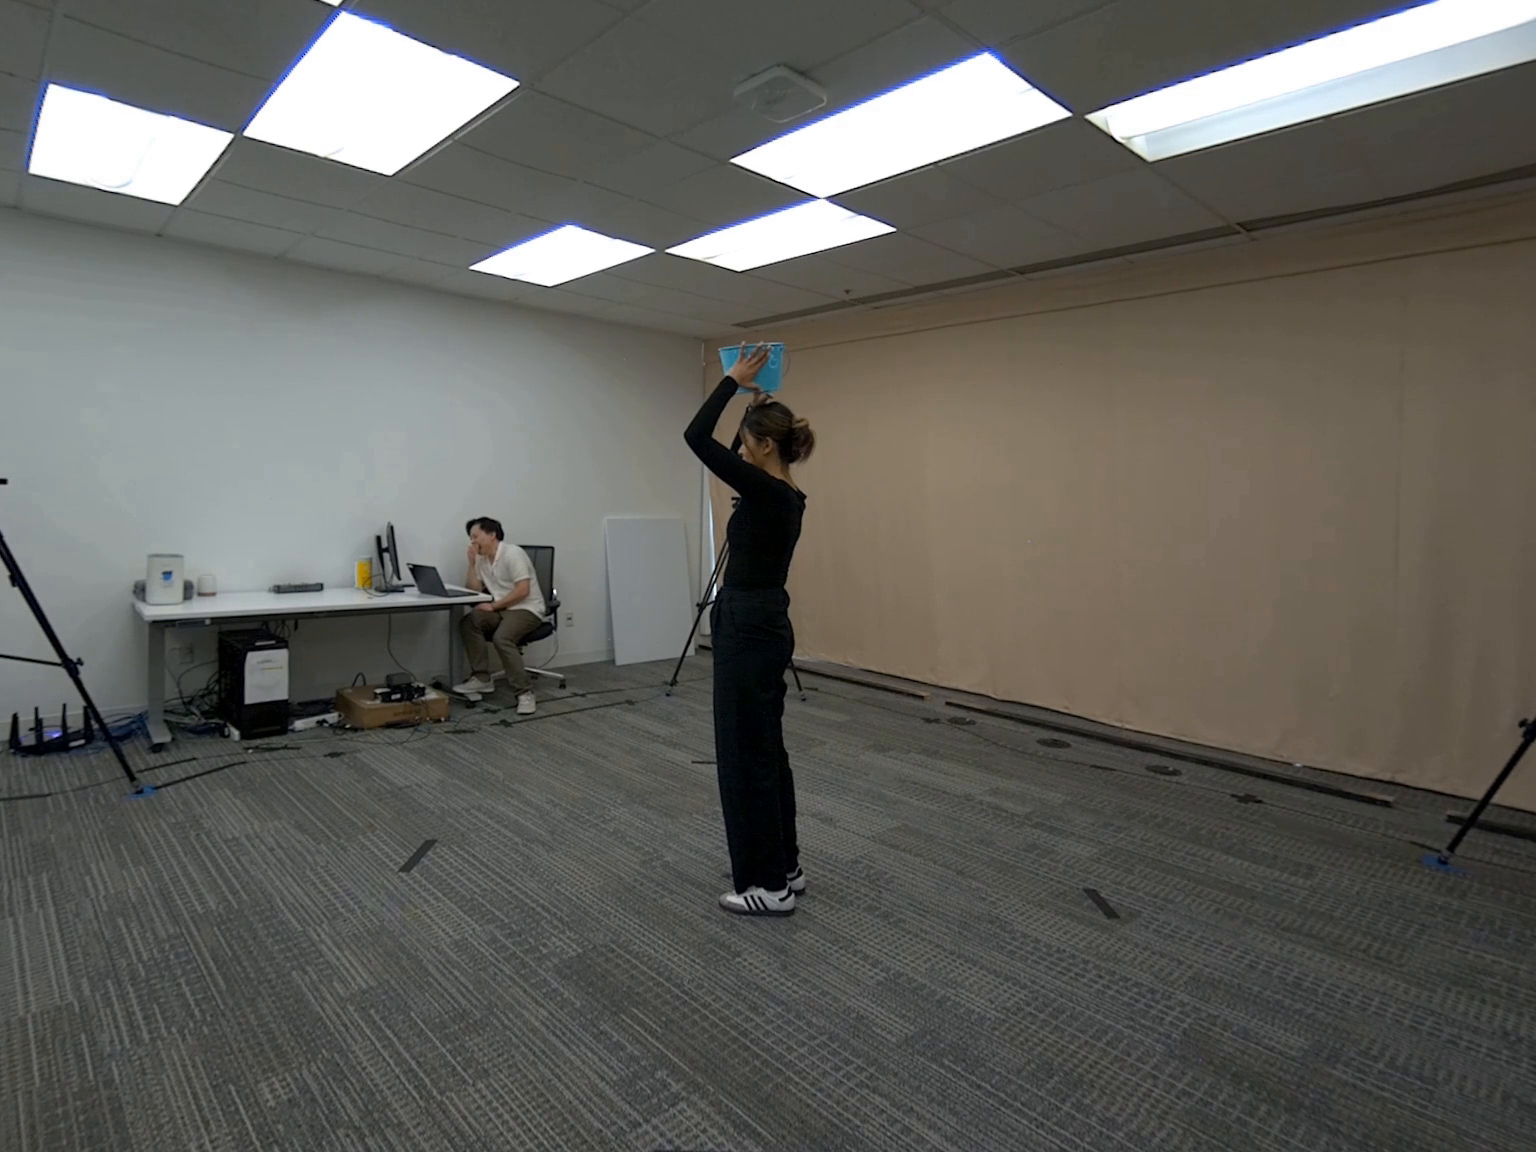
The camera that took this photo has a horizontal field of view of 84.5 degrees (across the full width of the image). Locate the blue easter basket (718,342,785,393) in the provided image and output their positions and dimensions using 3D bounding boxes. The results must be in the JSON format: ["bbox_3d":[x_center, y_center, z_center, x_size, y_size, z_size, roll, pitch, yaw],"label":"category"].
[{"bbox_3d":[-0.050,-0.716,2.901,0.243,0.155,0.245,-5,10,0],"label":"blue easter basket"}]
